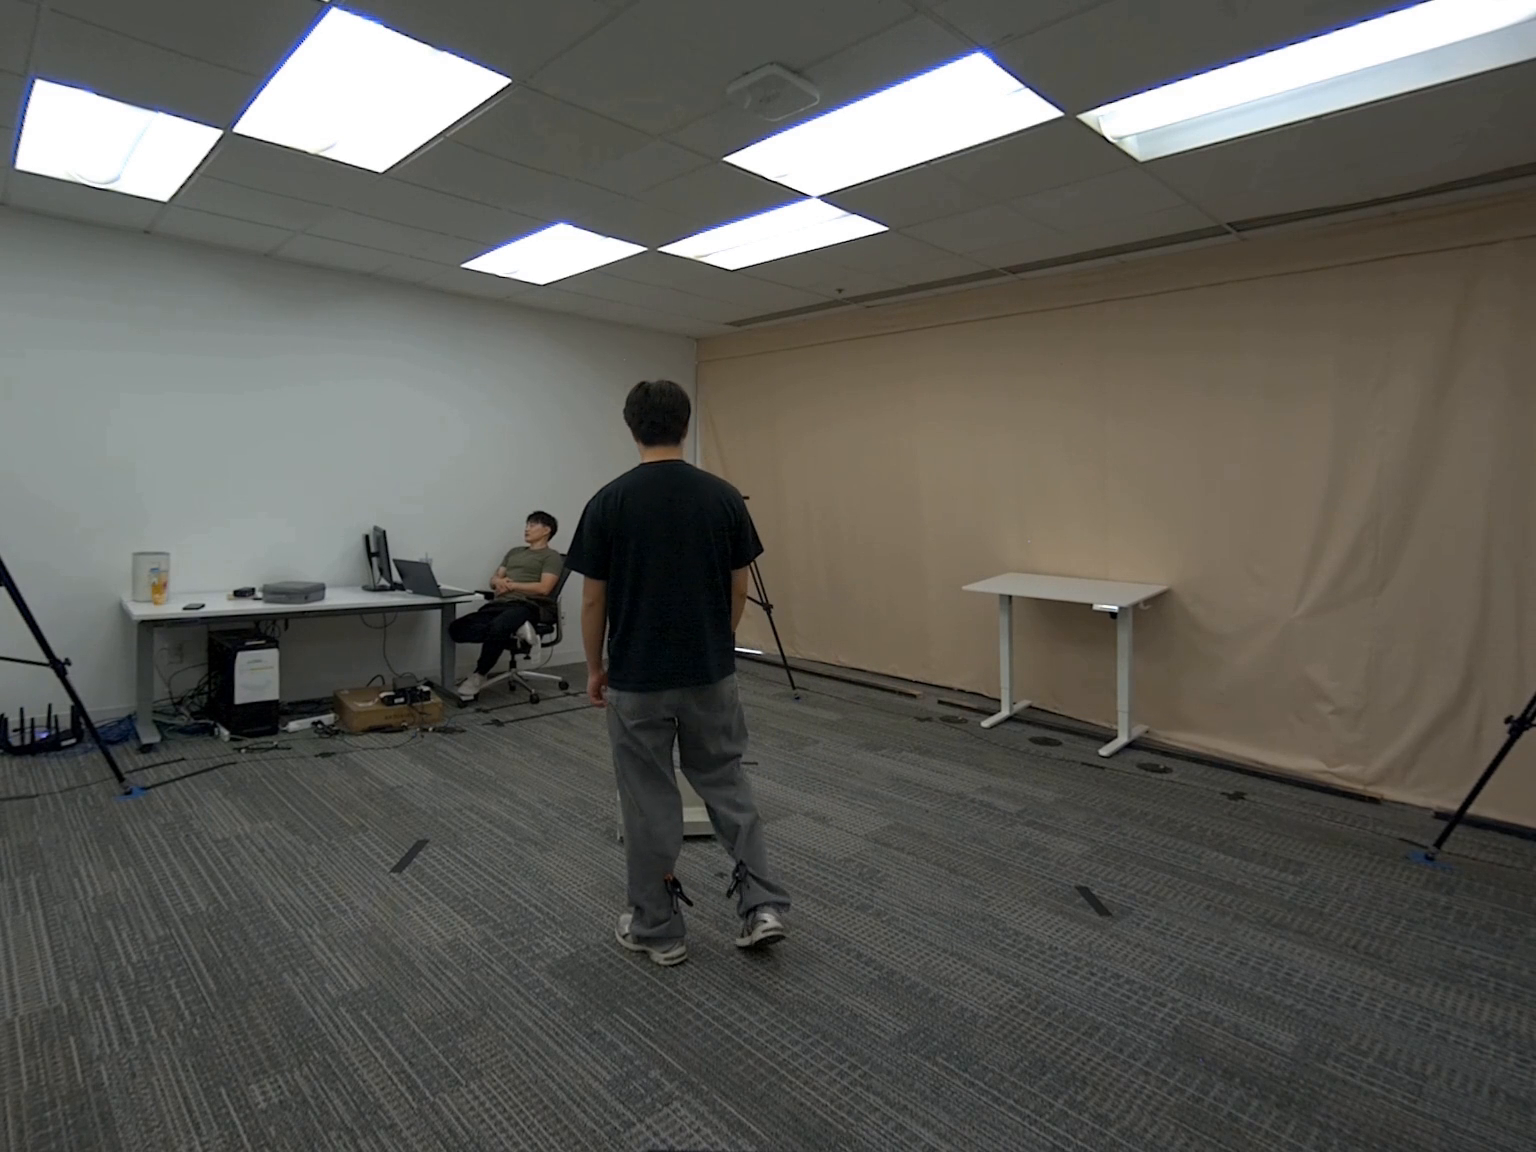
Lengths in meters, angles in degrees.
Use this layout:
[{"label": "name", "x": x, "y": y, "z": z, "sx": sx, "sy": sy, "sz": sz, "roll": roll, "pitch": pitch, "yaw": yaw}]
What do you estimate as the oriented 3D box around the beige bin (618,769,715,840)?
[{"label": "beige bin", "x": -0.433, "y": 0.980, "z": 3.559, "sx": 0.419, "sy": 0.188, "sz": 0.381, "roll": 0, "pitch": 4, "yaw": -10}]
